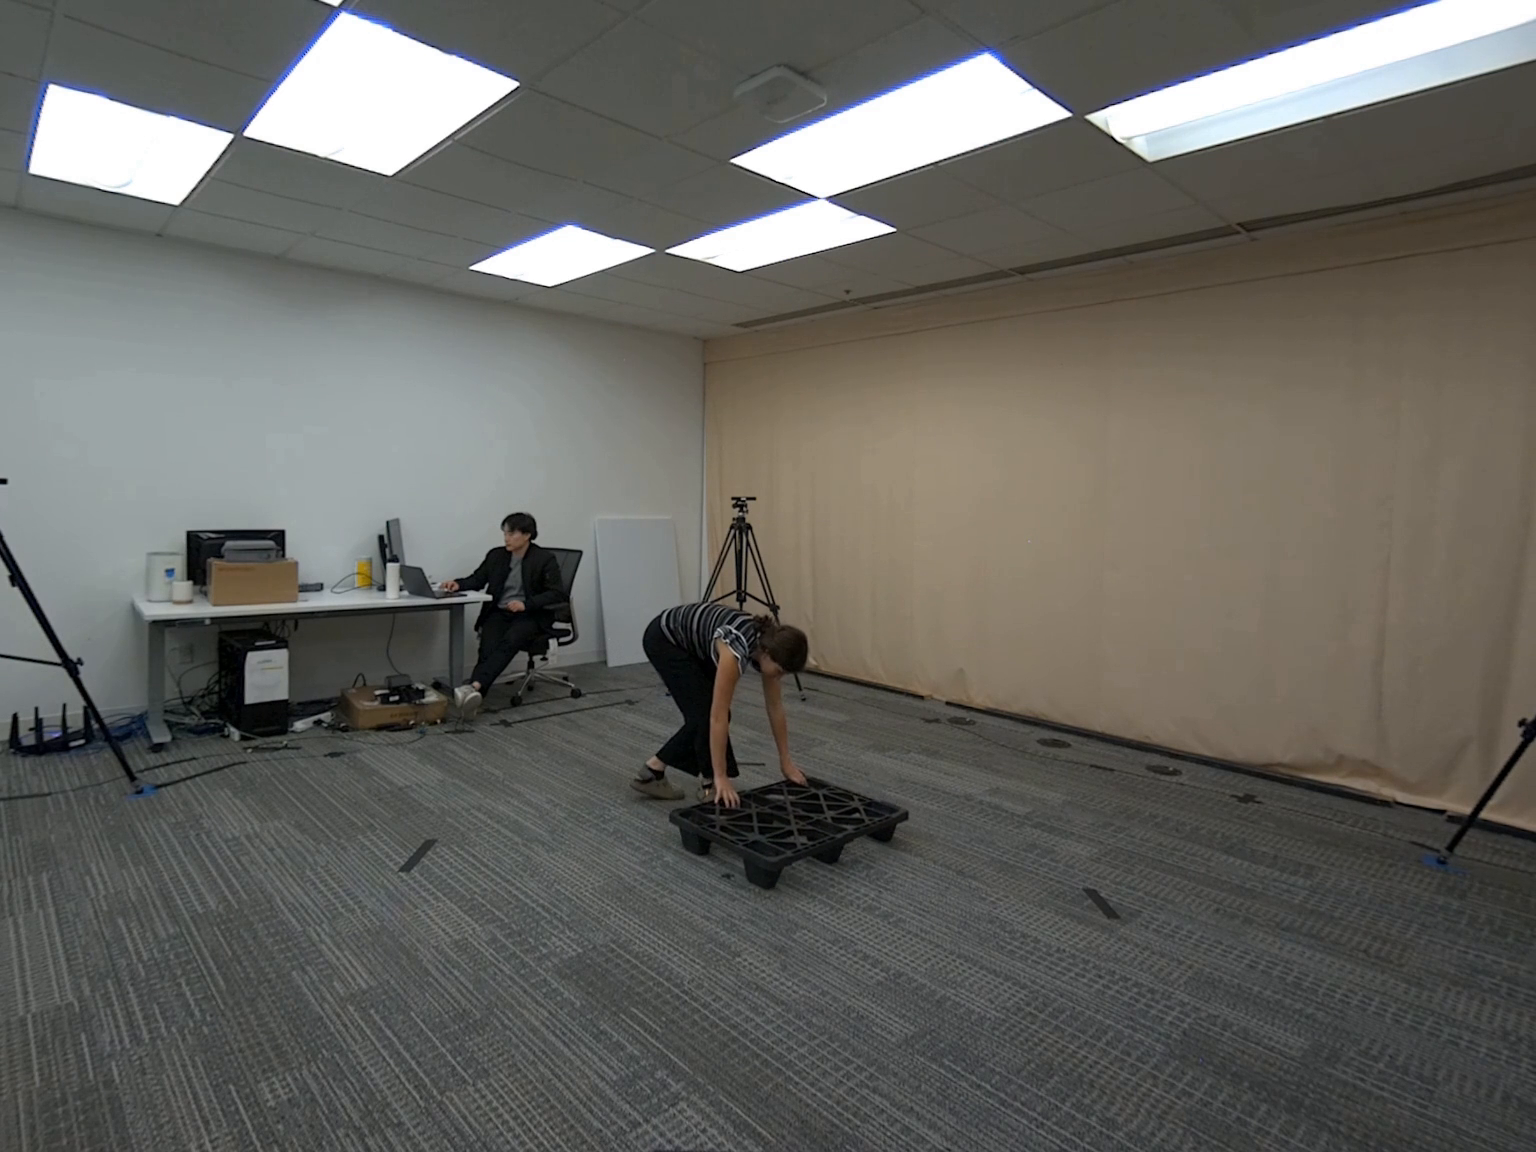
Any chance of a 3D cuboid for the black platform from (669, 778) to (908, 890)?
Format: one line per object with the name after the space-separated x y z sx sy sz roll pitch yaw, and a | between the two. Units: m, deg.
0.089 1.019 3.397 0.787 0.143 0.621 -3 7 -44 | black platform
